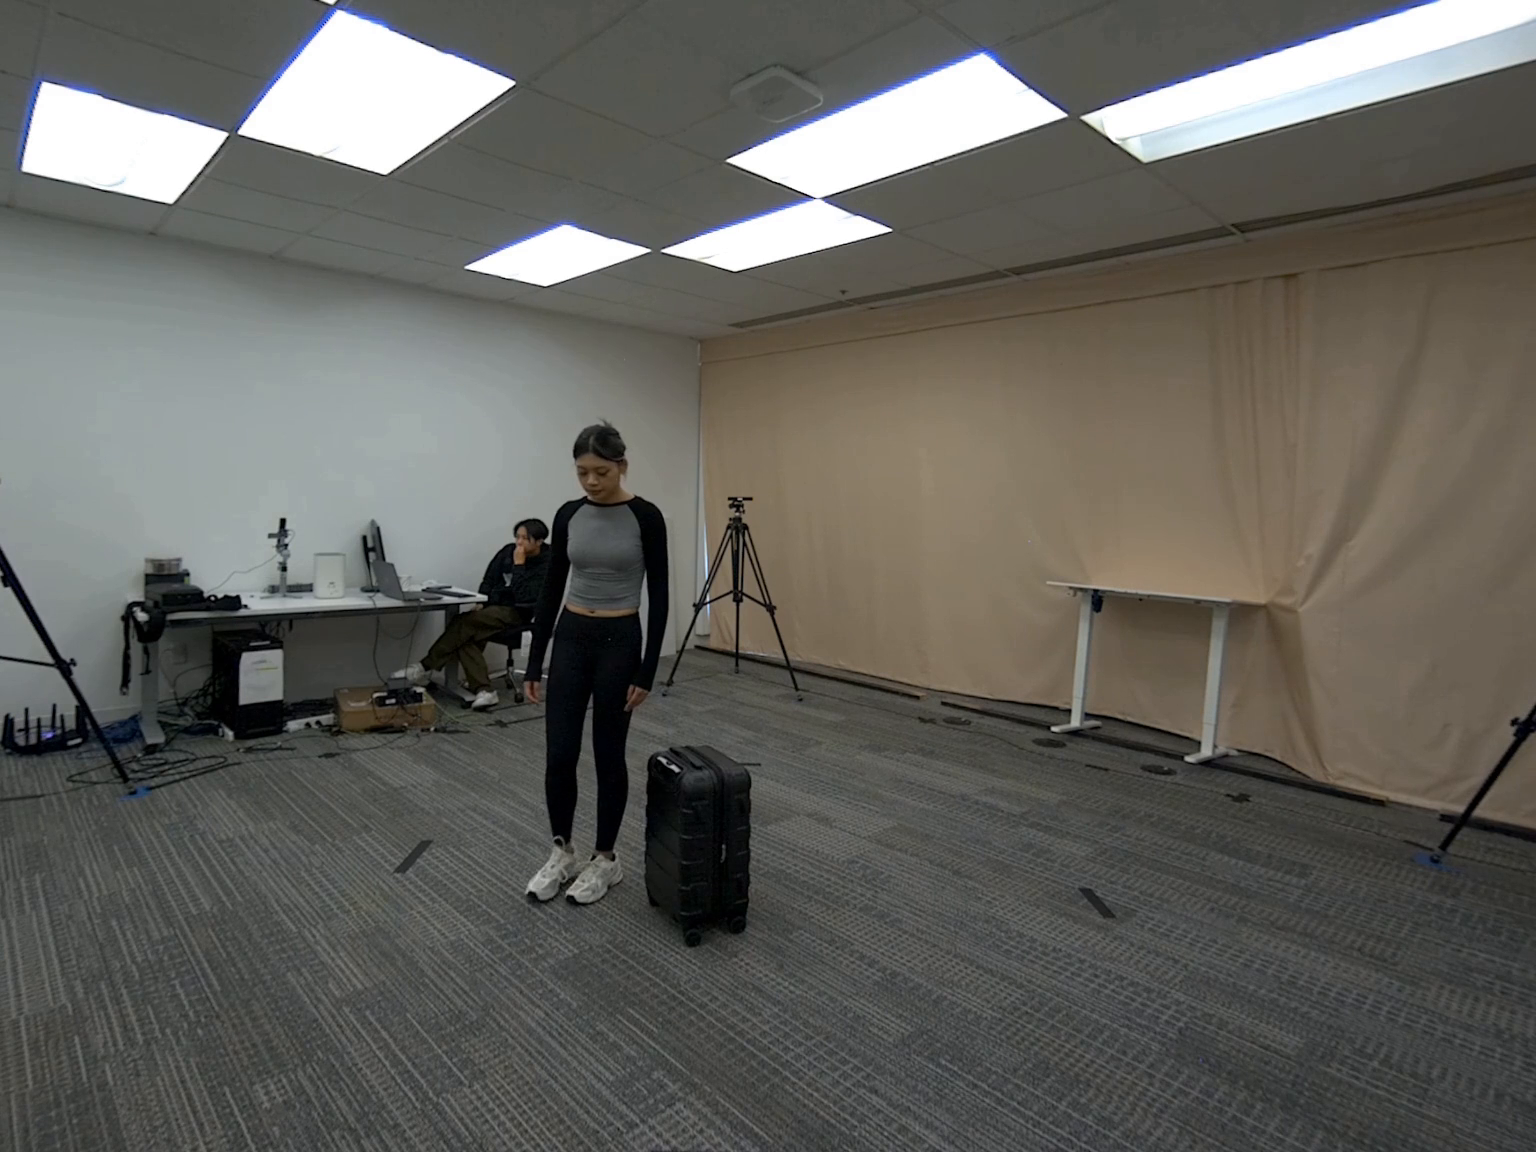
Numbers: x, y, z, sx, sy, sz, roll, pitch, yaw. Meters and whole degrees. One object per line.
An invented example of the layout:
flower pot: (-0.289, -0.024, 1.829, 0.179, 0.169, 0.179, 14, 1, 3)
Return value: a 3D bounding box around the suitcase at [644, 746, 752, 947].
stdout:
suitcase: (-0.239, 0.855, 2.783, 0.243, 0.548, 0.383, 0, 3, -29)
